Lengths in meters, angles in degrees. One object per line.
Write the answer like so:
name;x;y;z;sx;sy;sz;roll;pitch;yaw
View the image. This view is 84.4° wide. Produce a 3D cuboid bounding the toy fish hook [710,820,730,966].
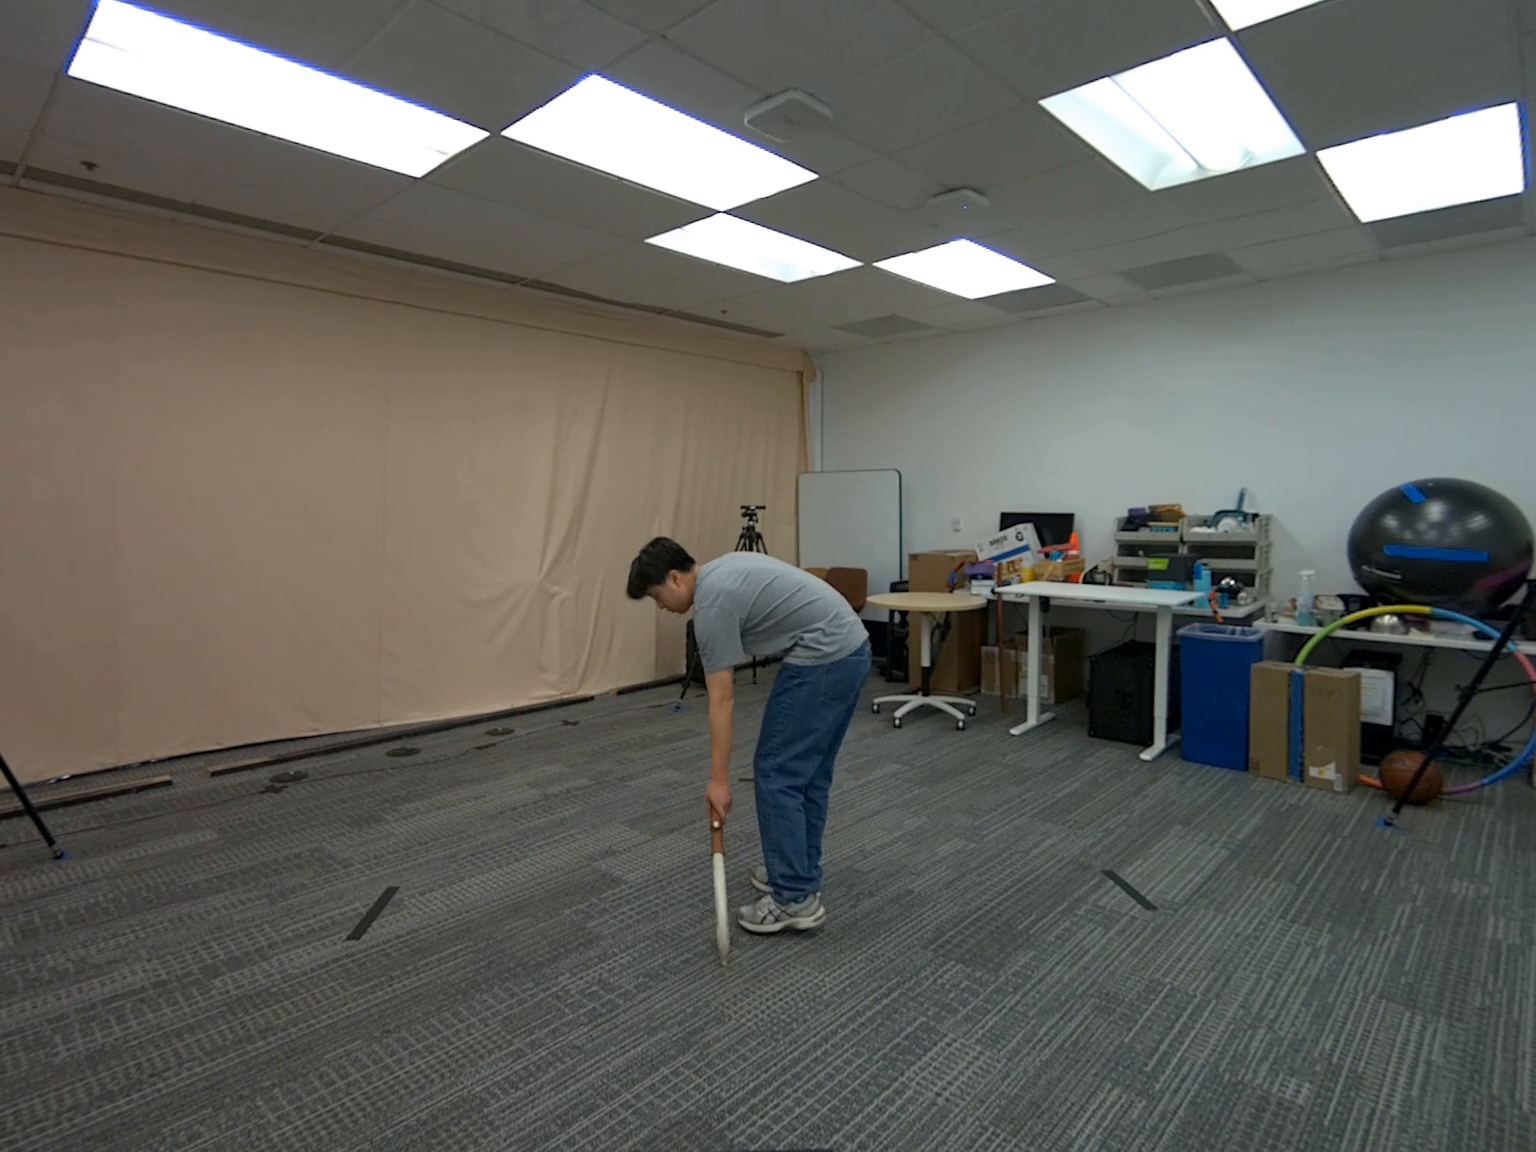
toy fish hook;-0.154;0.972;2.700;0.048;0.221;0.517;0;43;-5
